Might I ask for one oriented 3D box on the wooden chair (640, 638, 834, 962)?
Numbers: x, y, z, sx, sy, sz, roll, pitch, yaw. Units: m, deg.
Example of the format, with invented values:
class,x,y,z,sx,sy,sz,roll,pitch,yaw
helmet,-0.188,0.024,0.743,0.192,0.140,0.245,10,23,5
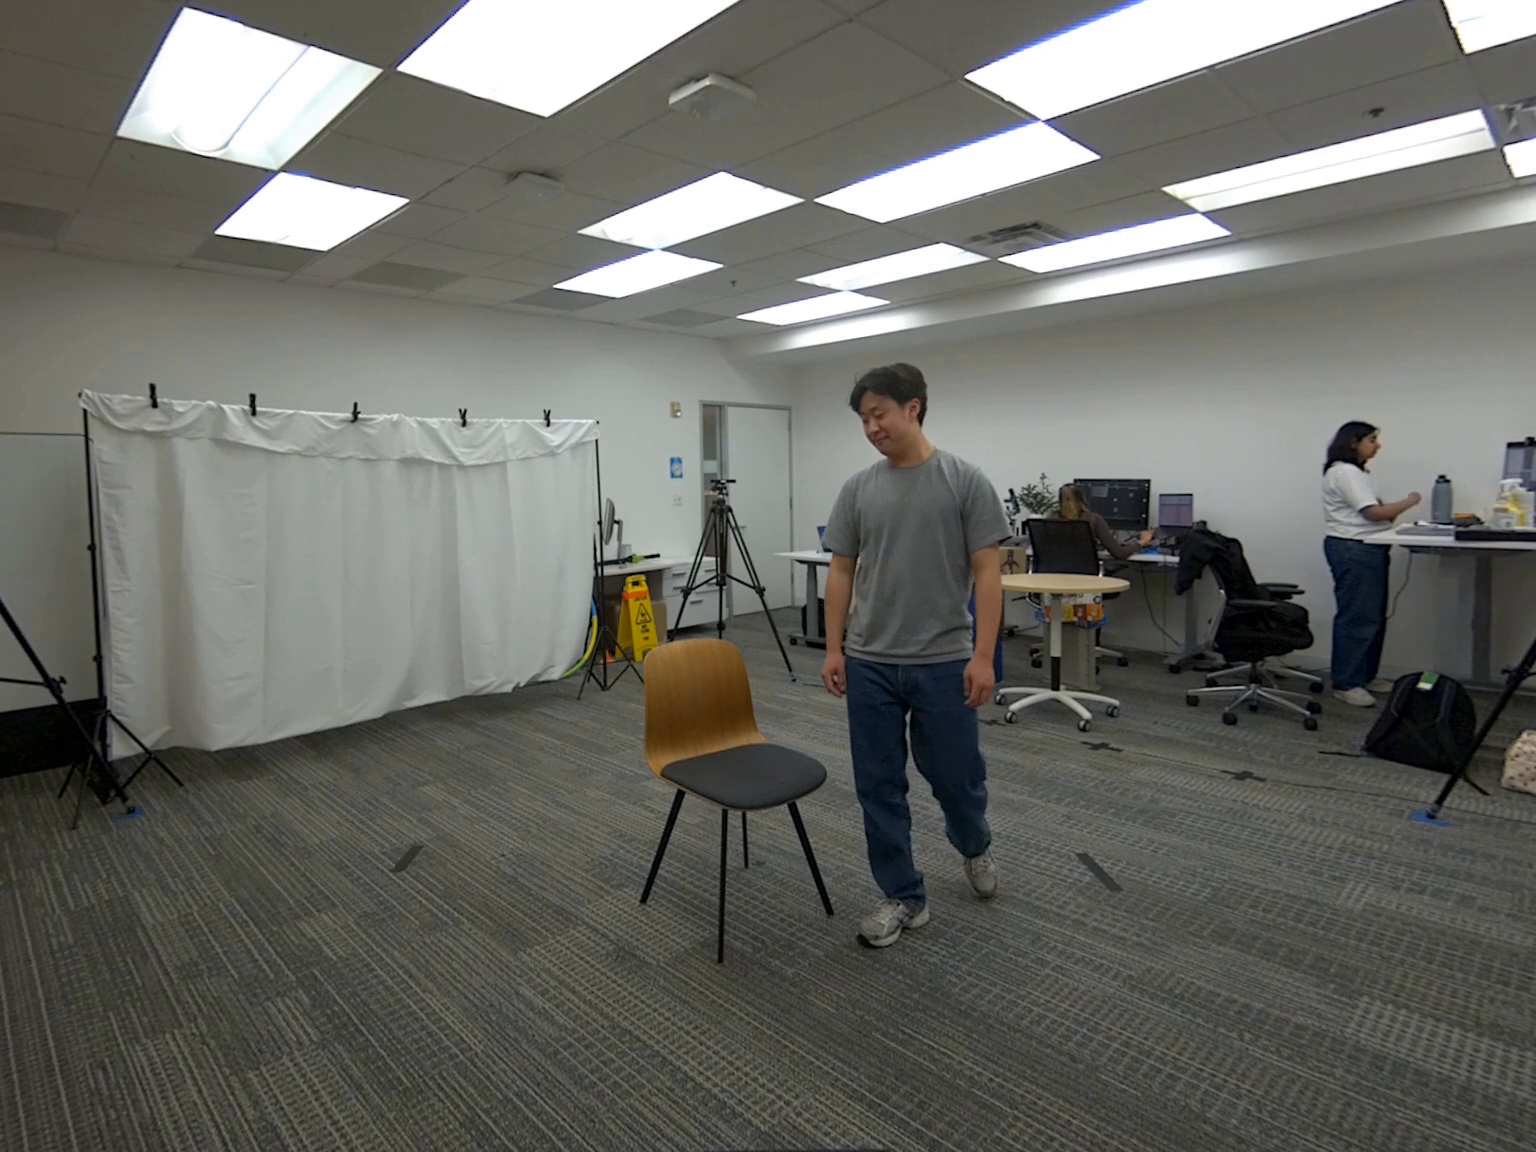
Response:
class,x,y,z,sx,sy,sz,roll,pitch,yaw
wooden chair,-0.109,0.663,2.742,0.466,0.877,0.537,-4,1,-37
